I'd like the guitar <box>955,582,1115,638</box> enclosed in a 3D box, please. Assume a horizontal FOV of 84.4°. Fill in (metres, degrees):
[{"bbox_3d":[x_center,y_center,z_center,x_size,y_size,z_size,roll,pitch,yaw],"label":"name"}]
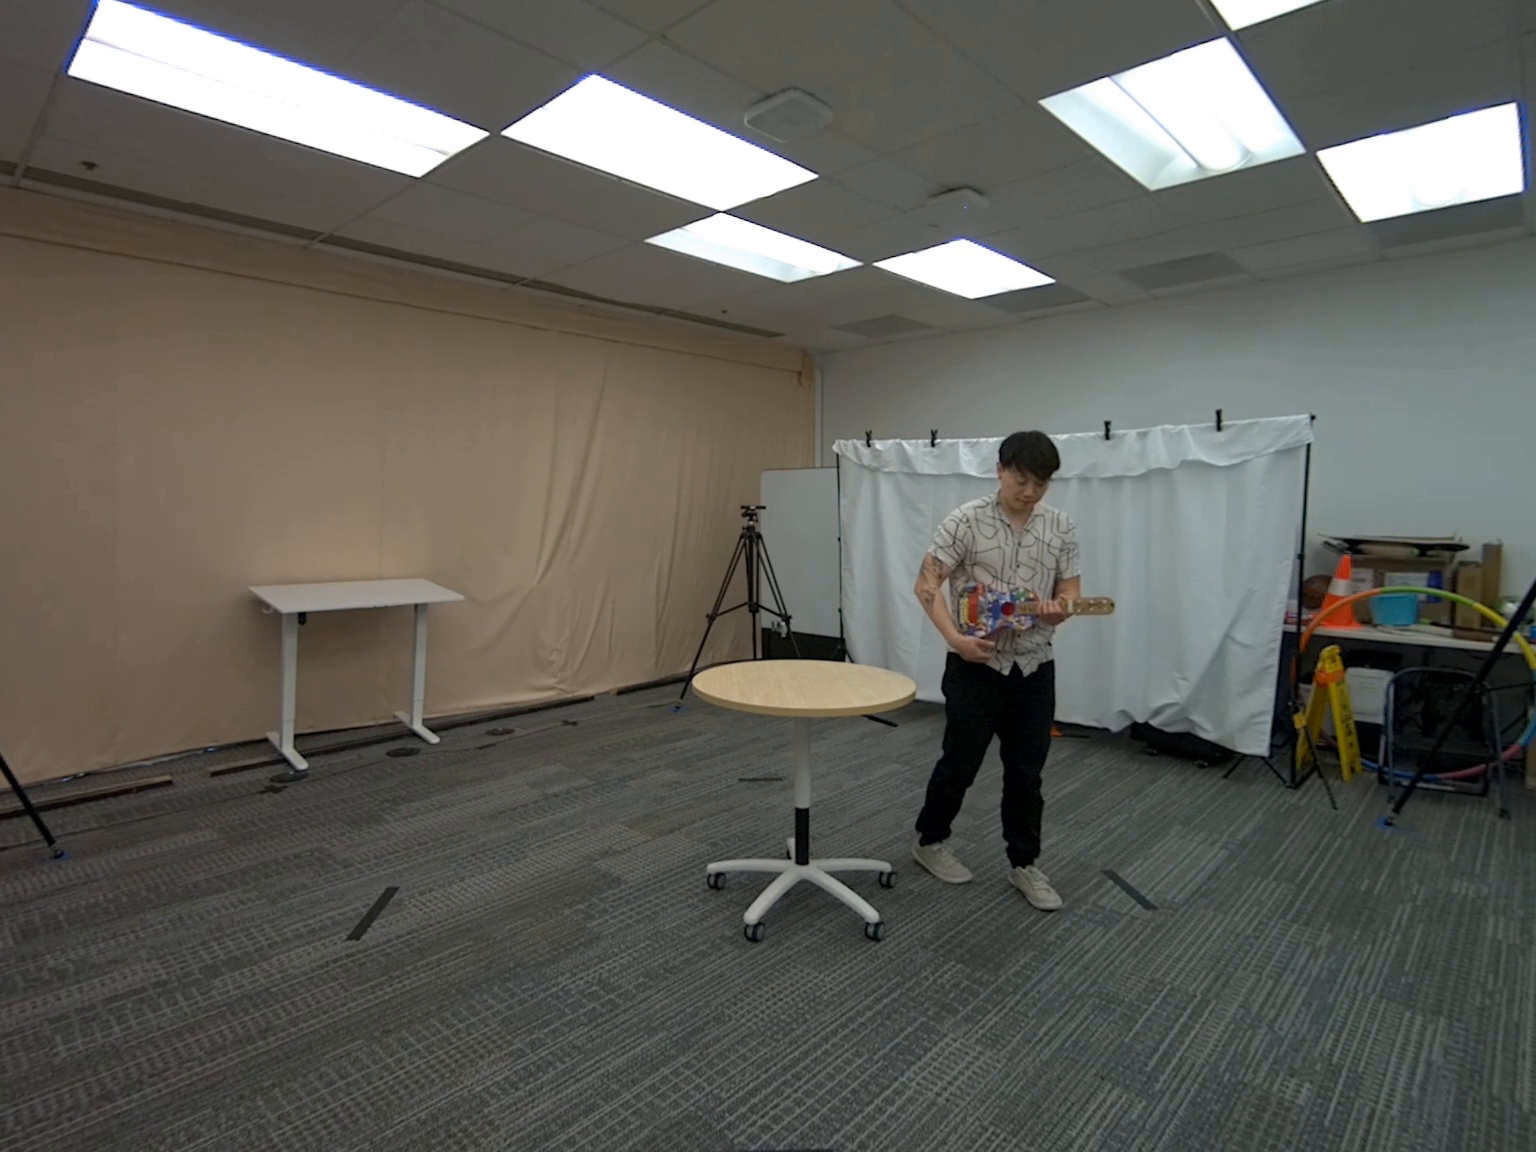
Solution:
[{"bbox_3d":[0.869,0.139,2.791,0.514,0.193,0.068,6,-6,35],"label":"guitar"}]
